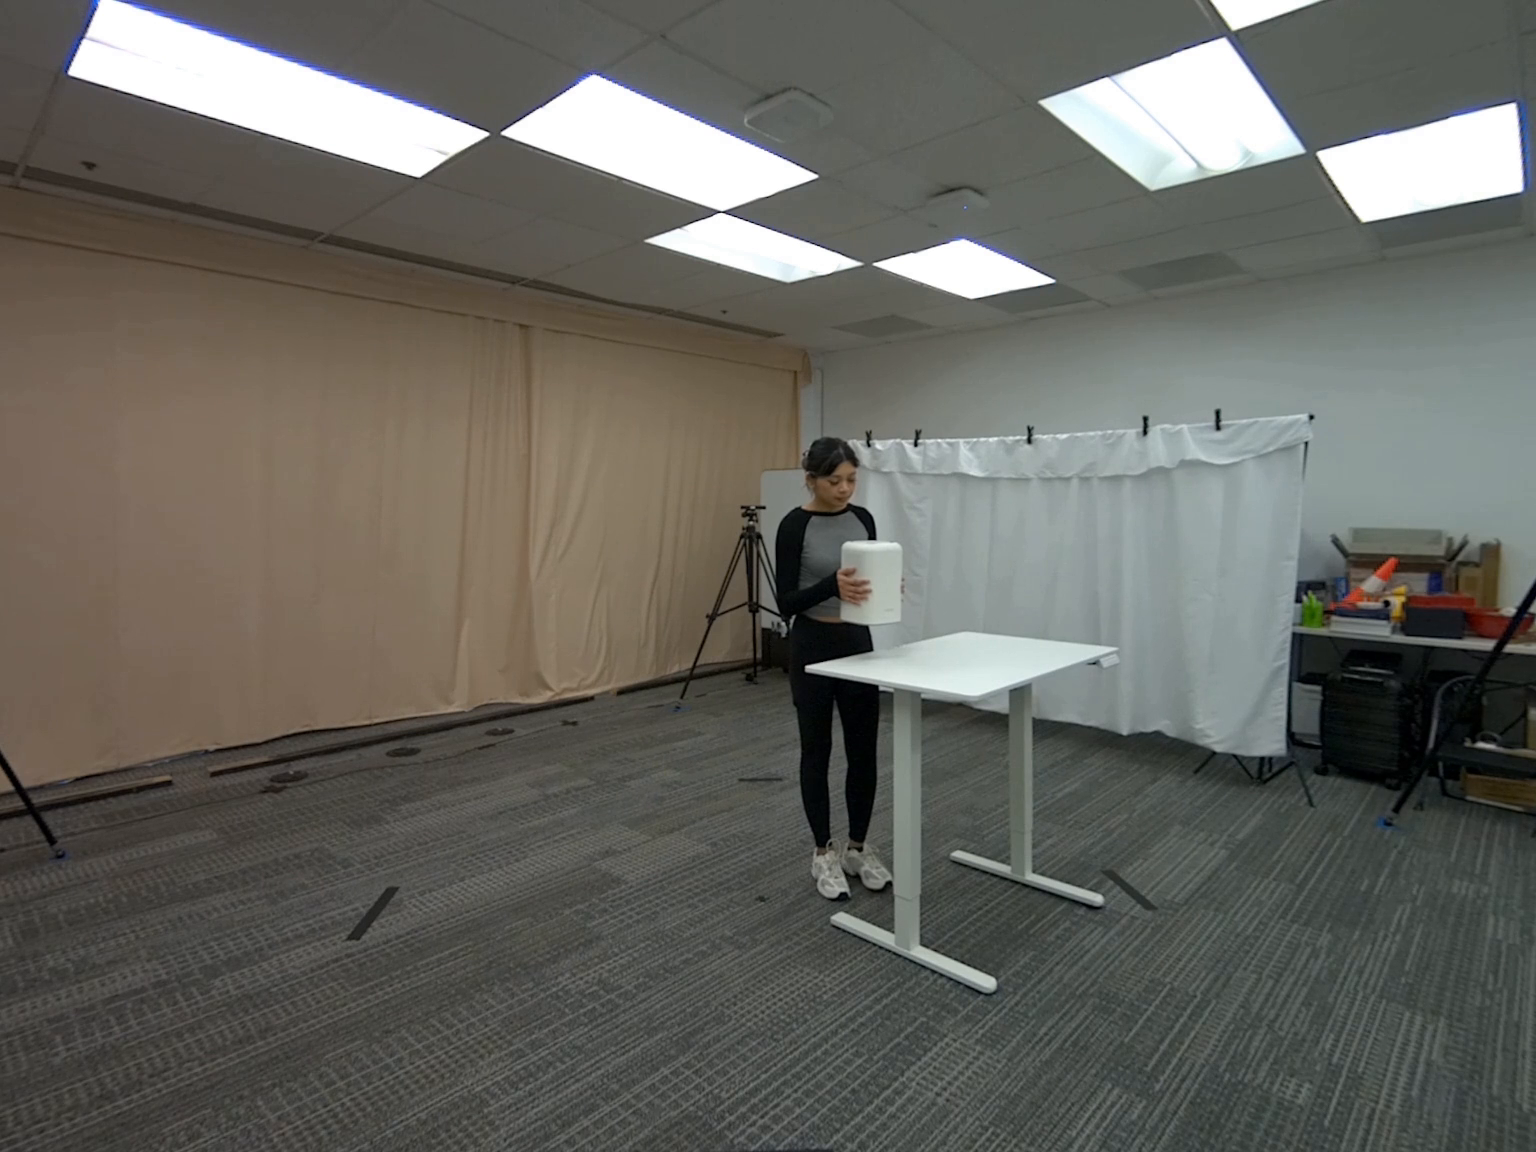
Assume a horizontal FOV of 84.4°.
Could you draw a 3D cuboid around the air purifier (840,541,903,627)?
[{"bbox_3d":[0.339,0.018,2.803,0.166,0.264,0.177,-4,6,-35],"label":"air purifier"}]
